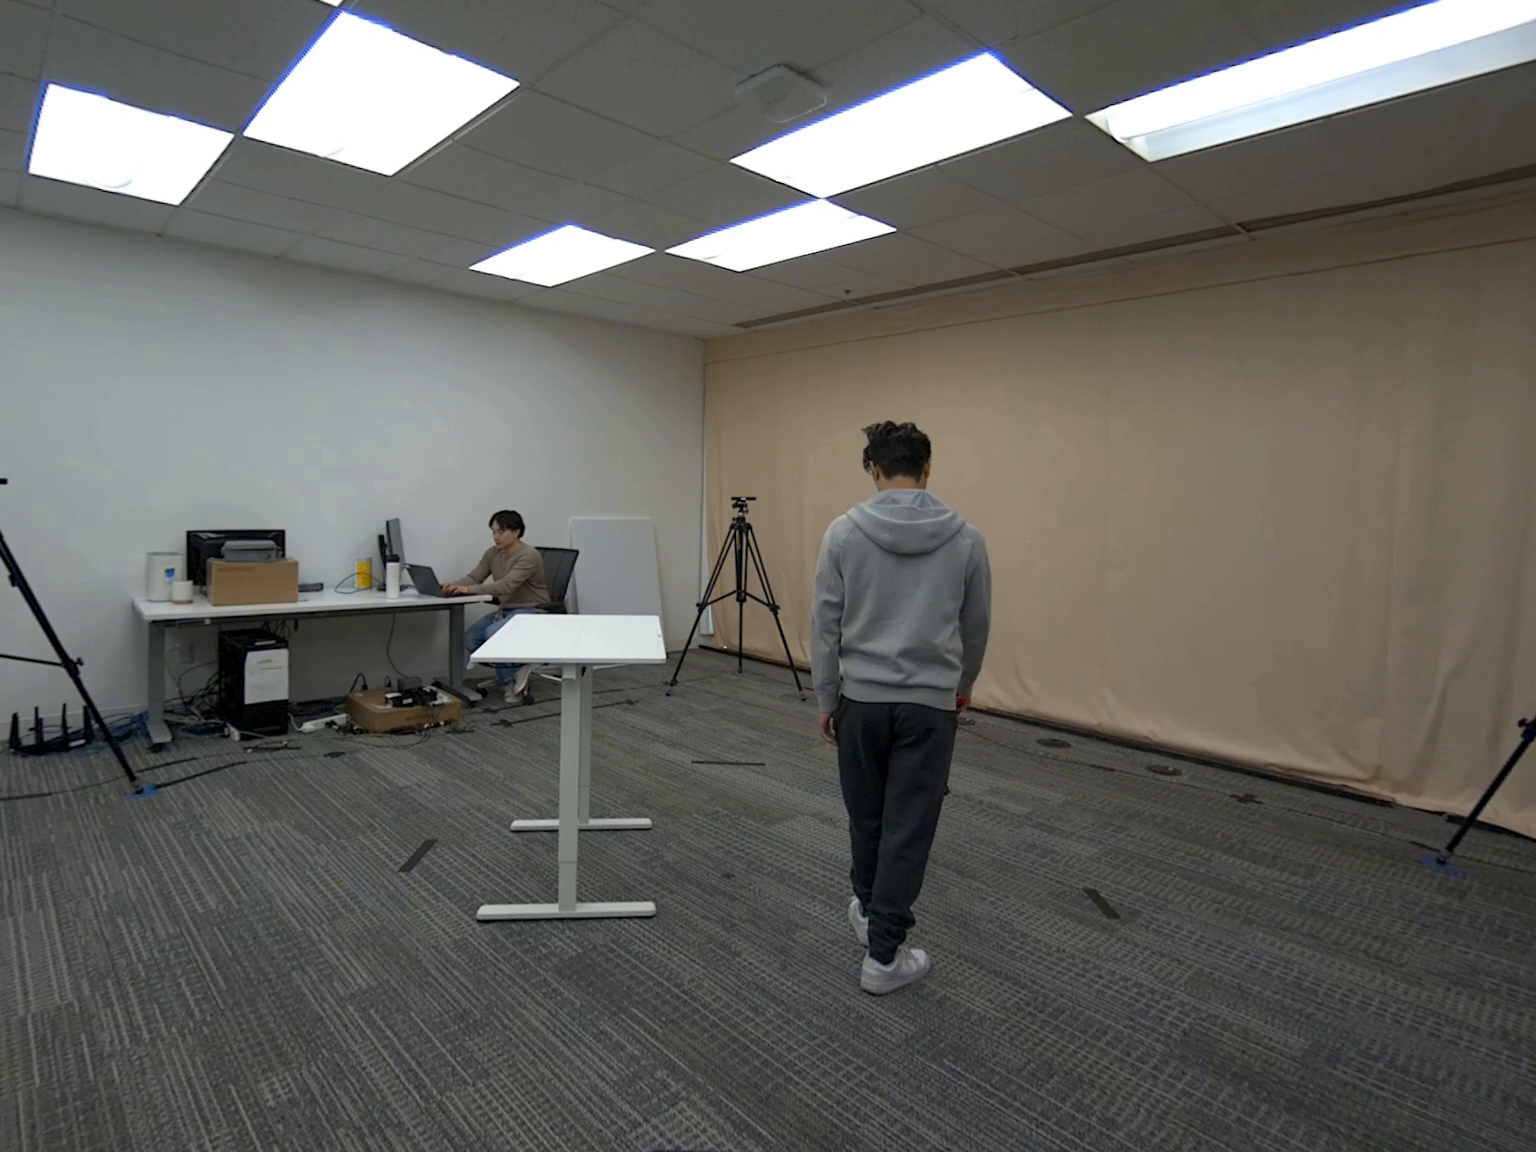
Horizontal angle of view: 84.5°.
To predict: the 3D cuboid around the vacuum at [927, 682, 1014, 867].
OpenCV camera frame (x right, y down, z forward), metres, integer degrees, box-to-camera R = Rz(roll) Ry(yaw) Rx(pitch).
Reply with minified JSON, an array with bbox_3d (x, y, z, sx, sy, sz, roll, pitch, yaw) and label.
[{"bbox_3d":[0.575,0.745,3.031,0.251,1.029,0.147,1,46,-6],"label":"vacuum"}]
